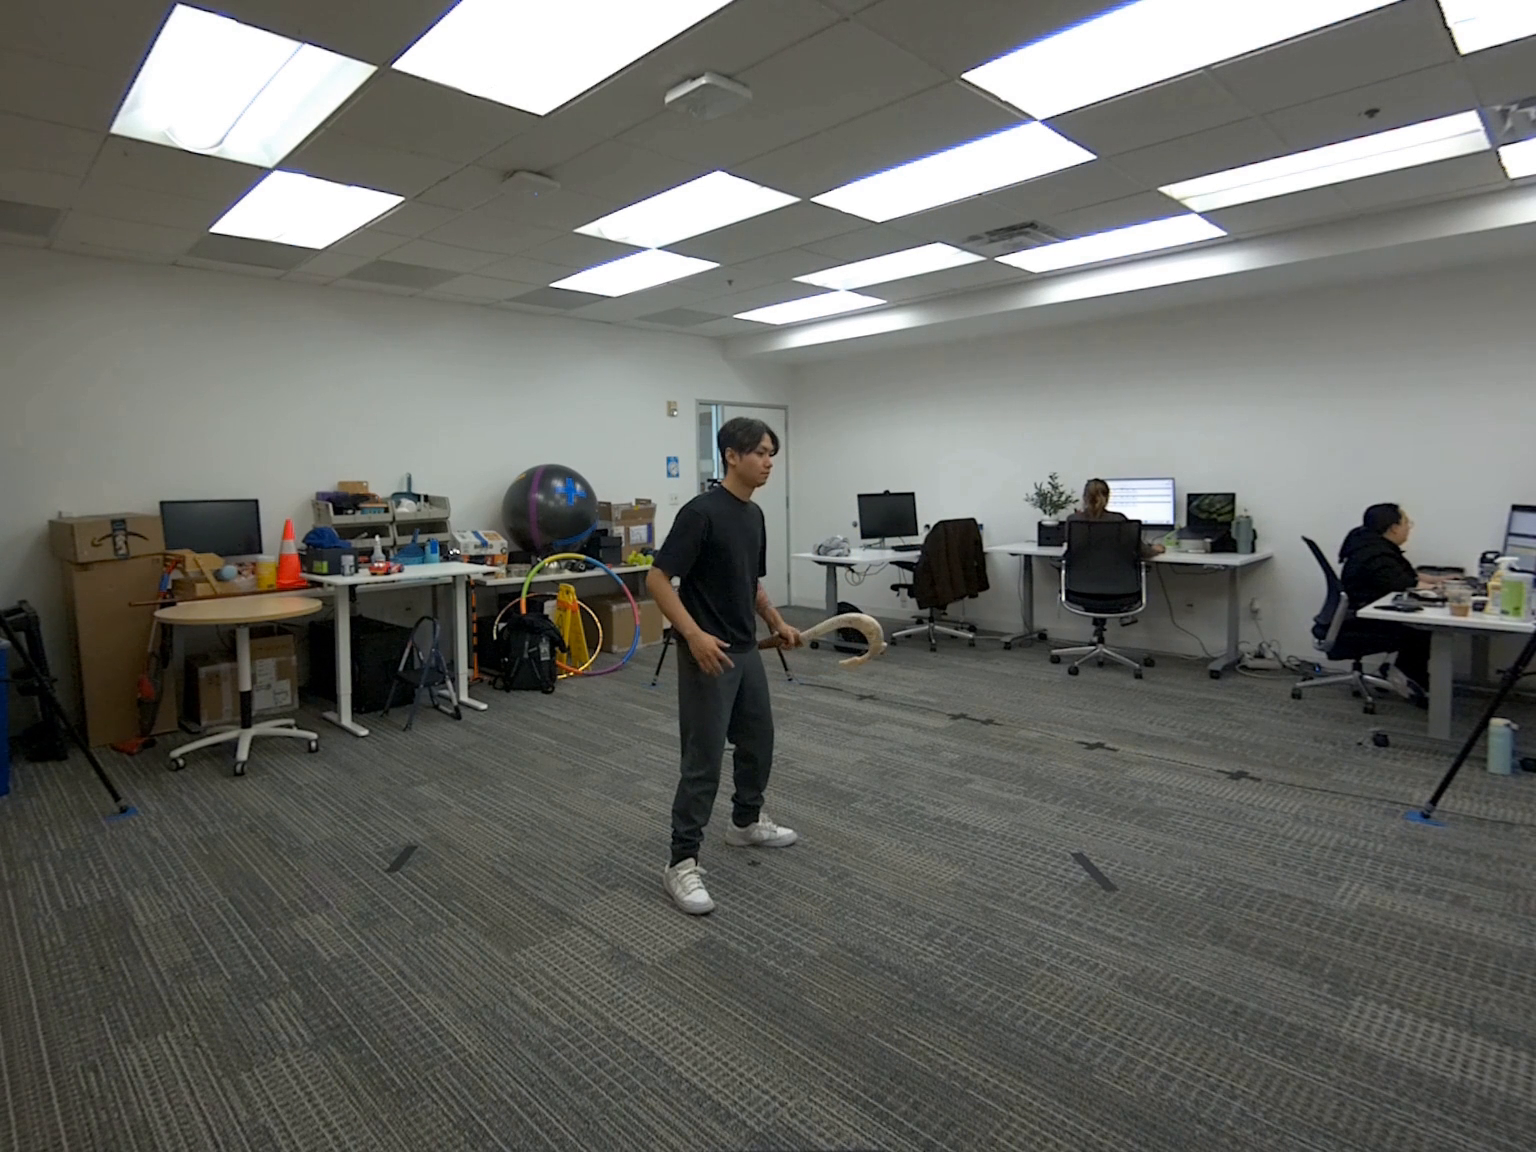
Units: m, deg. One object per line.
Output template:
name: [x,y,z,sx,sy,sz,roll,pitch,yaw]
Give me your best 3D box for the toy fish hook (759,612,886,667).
toy fish hook: [0.186,0.254,3.215,0.514,0.221,0.048,-12,16,21]
